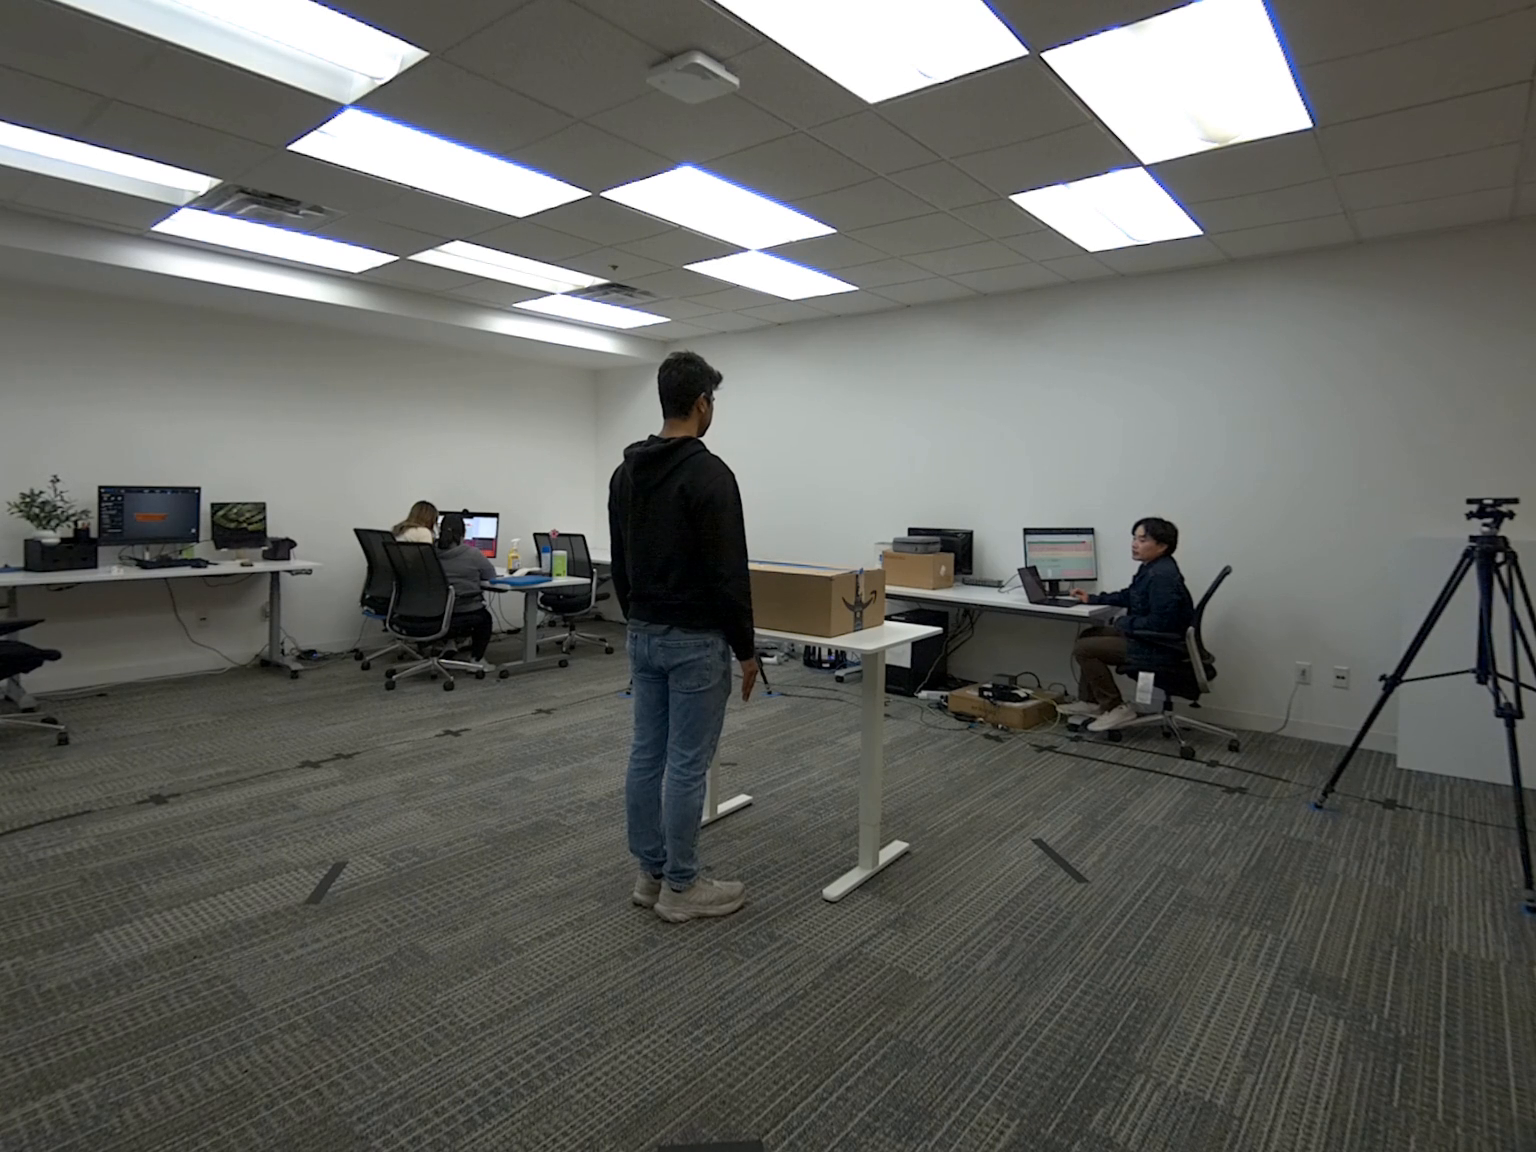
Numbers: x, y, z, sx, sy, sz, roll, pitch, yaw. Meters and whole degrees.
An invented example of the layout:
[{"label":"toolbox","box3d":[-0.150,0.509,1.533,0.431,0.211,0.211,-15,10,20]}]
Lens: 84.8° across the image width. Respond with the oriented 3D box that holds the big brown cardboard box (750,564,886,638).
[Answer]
[{"label":"big brown cardboard box","box3d":[0.083,0.065,3.255,0.608,0.232,0.406,6,7,34]}]
